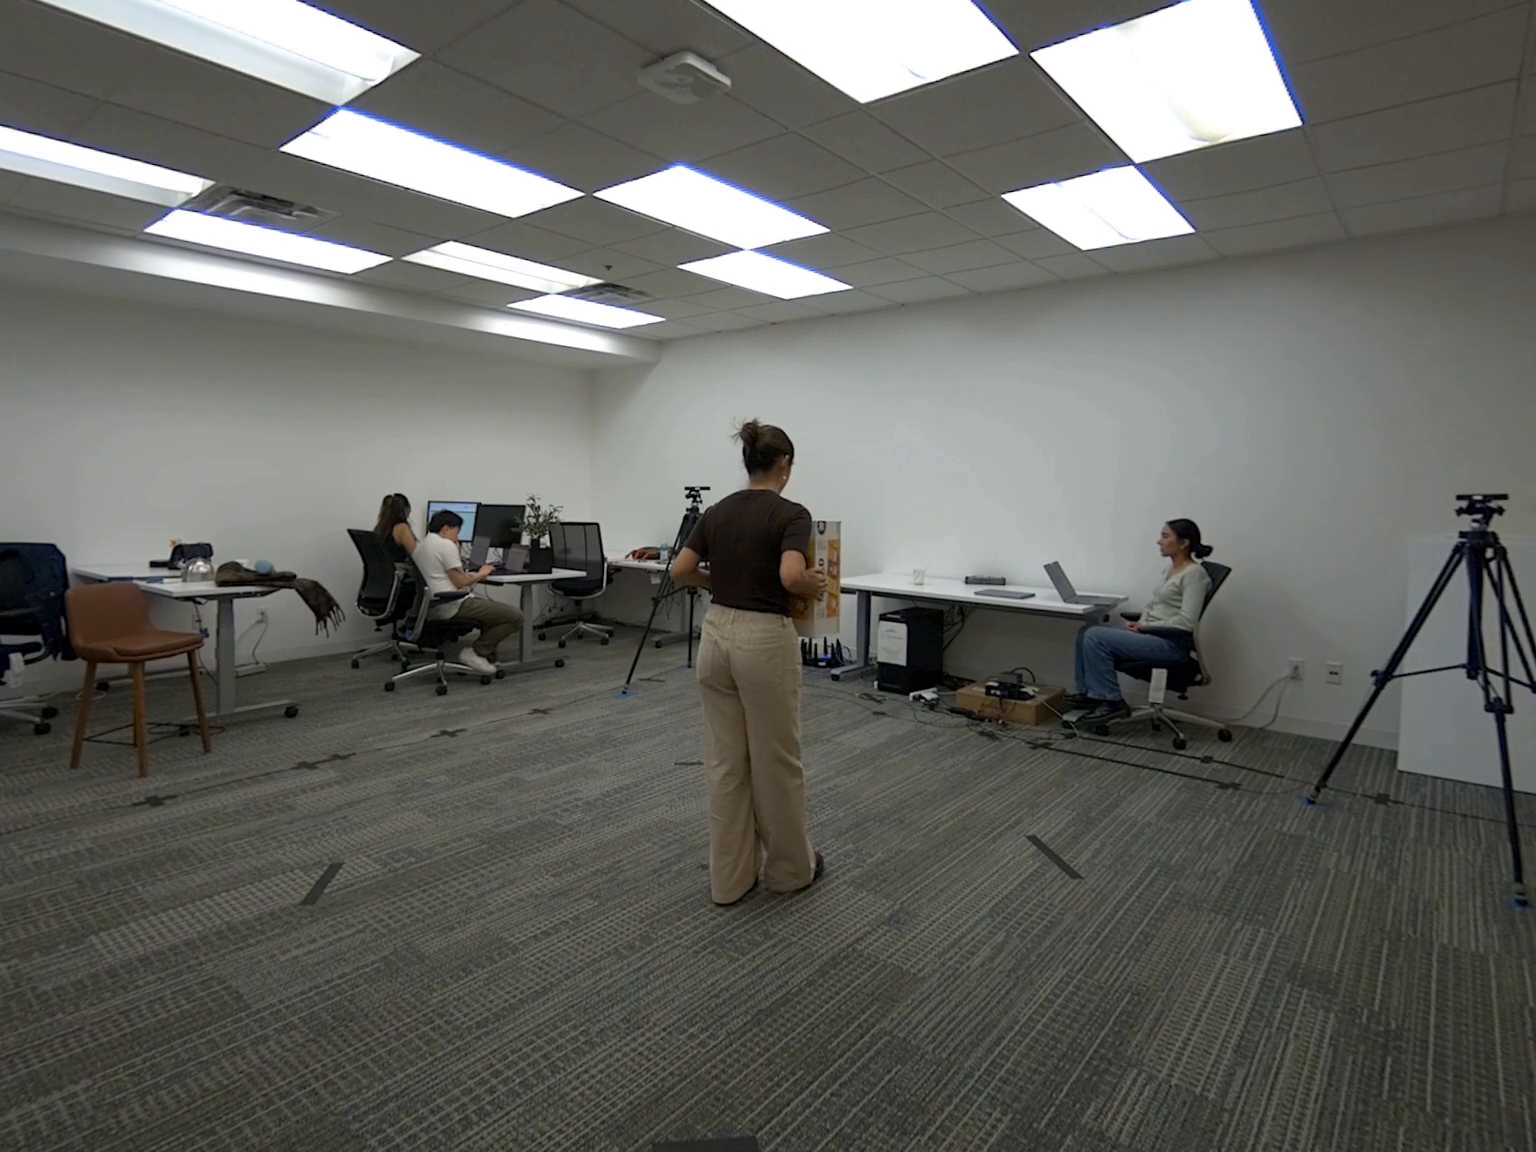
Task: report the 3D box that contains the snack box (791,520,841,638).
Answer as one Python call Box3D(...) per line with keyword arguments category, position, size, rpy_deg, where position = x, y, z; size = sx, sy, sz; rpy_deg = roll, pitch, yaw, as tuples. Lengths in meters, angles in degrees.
Box3D(category="snack box", position=(0.062, -0.001, 3.064), size=(0.351, 0.405, 0.199), rpy_deg=(2, 1, 34))
